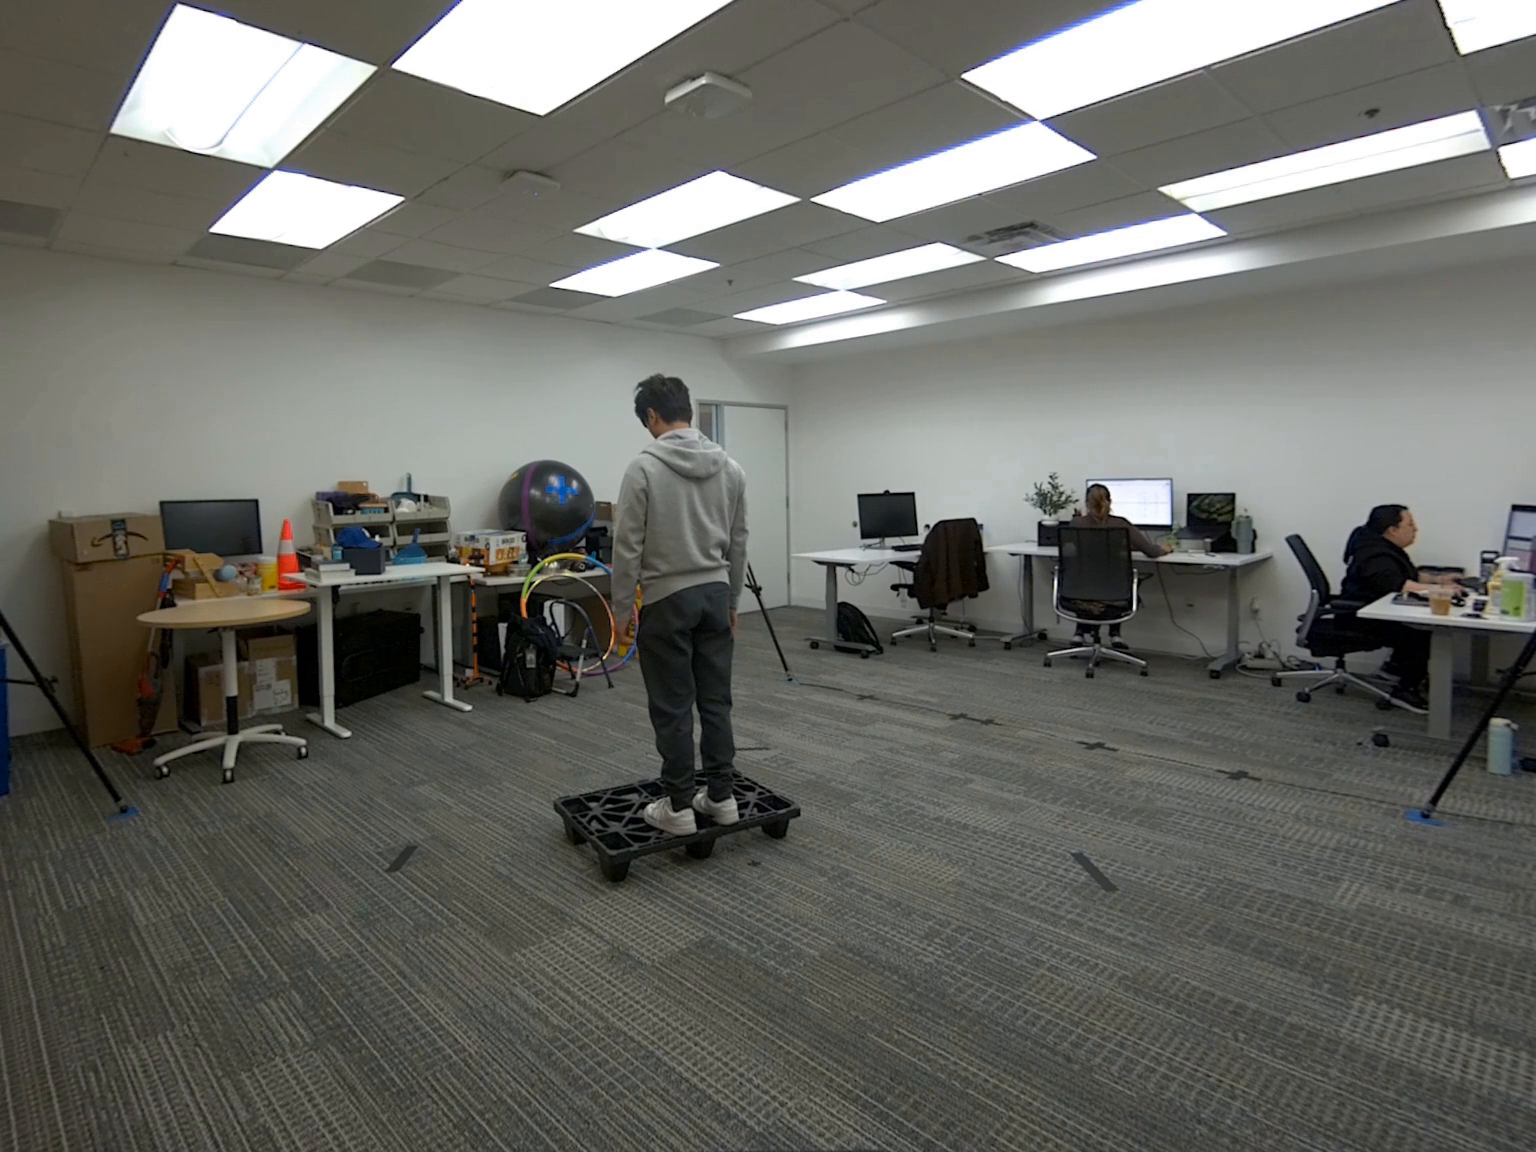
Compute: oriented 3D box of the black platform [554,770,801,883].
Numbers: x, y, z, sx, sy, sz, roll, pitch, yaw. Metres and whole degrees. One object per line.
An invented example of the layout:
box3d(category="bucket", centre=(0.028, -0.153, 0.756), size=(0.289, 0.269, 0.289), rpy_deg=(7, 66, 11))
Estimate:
box3d(category="black platform", centre=(-0.354, 0.957, 3.347), size=(0.787, 0.142, 0.623), rpy_deg=(-5, 8, -31))
